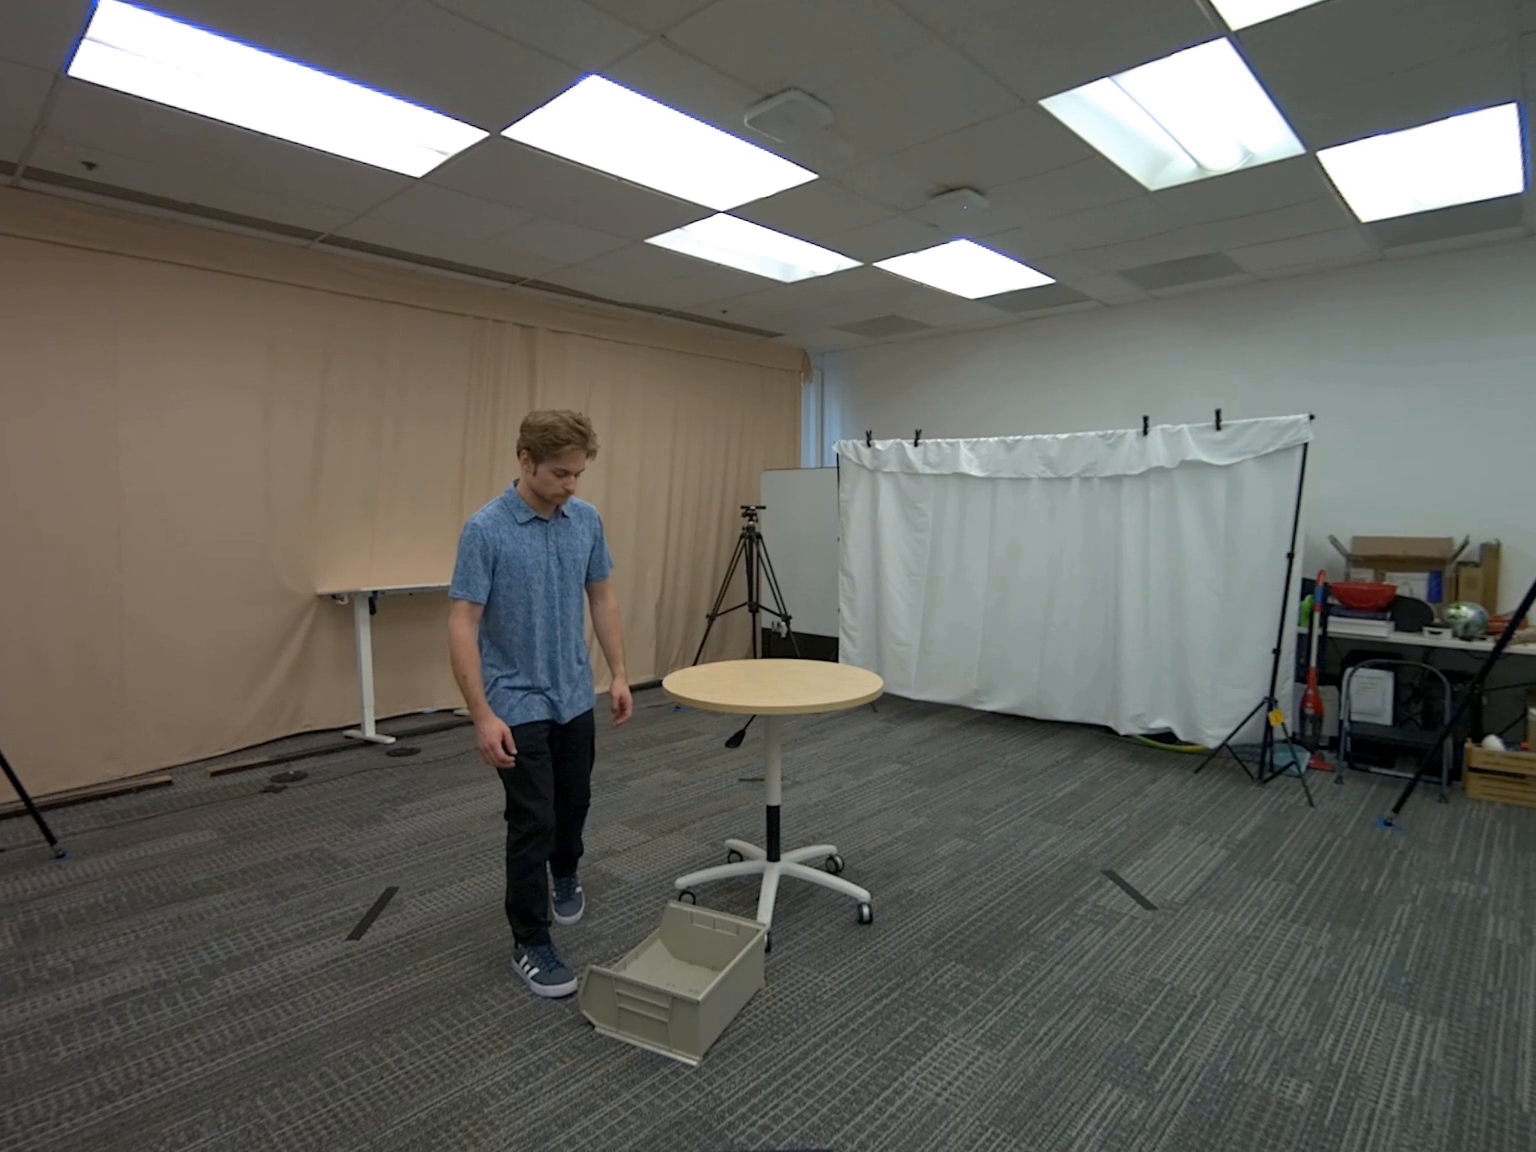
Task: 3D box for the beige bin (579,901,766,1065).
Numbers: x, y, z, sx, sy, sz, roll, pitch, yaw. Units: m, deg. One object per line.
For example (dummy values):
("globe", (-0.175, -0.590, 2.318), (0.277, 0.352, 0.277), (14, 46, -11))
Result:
("beige bin", (-0.251, 1.111, 2.343), (0.388, 0.188, 0.412), (3, 5, 27))
